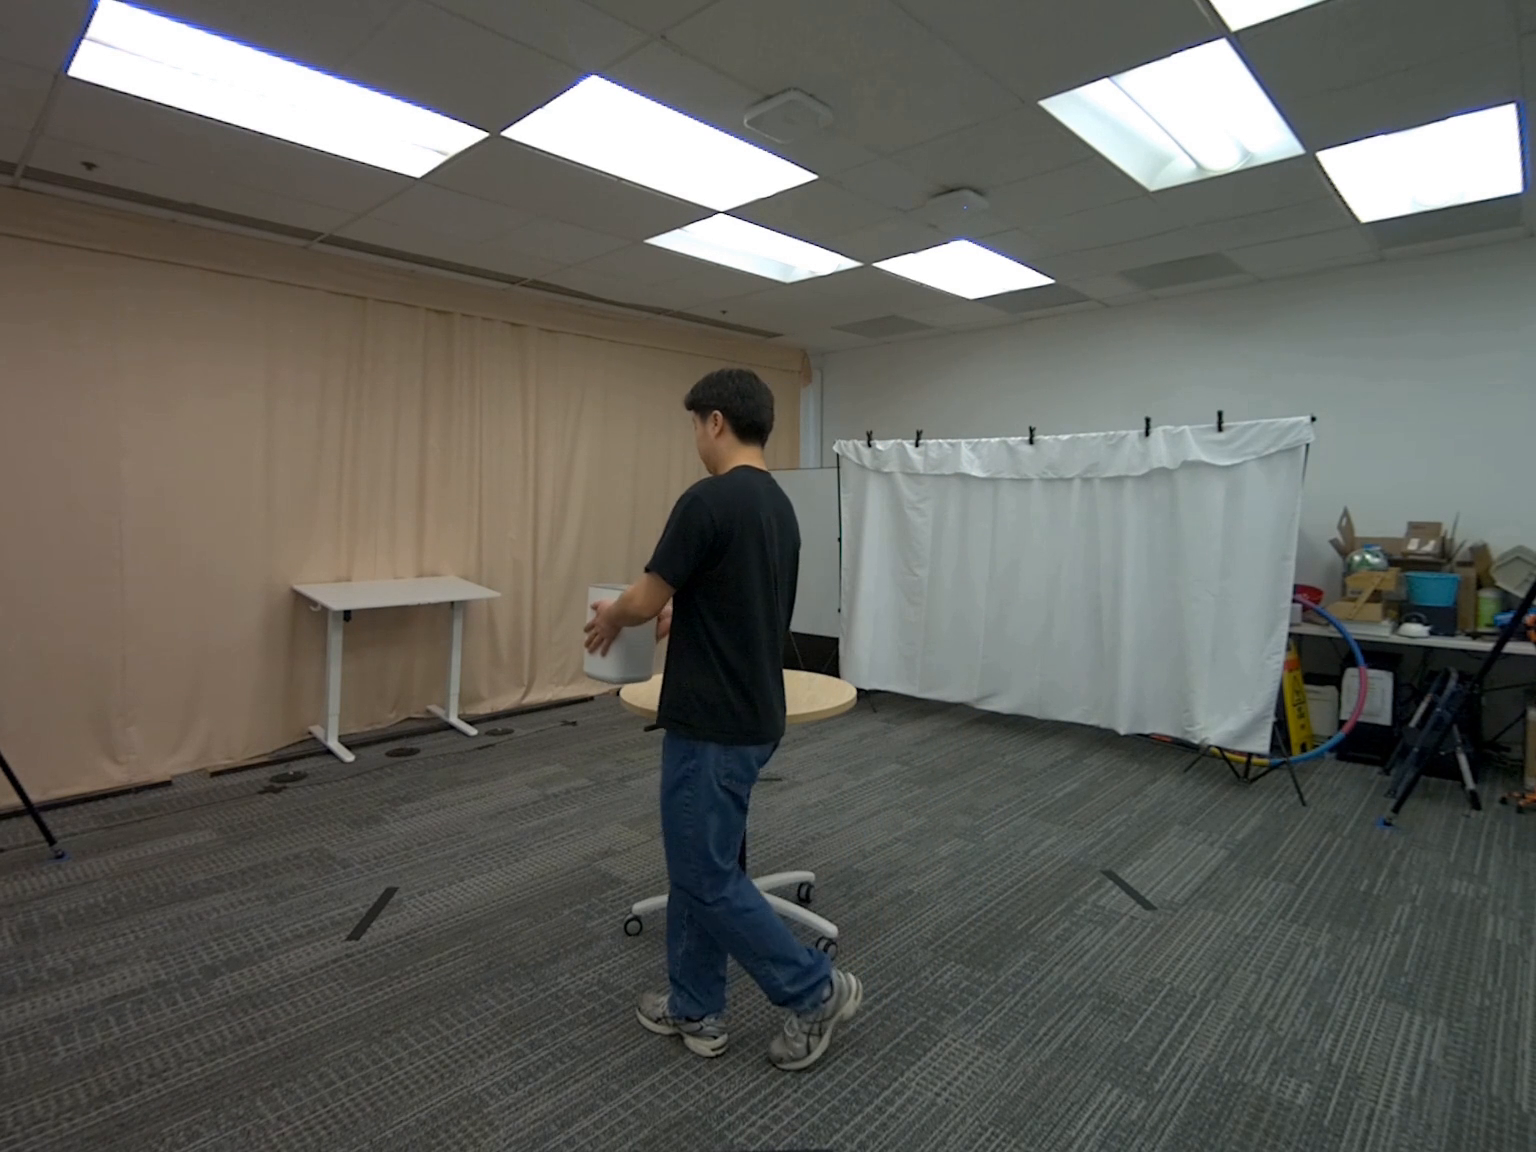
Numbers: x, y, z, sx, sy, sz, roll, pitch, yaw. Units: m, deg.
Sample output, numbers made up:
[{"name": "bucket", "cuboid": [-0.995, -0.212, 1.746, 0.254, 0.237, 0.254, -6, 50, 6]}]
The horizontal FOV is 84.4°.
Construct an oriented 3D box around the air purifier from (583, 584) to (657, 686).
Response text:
[{"name": "air purifier", "cuboid": [-0.412, 0.162, 2.373, 0.177, 0.265, 0.166, 6, 2, 39]}]
